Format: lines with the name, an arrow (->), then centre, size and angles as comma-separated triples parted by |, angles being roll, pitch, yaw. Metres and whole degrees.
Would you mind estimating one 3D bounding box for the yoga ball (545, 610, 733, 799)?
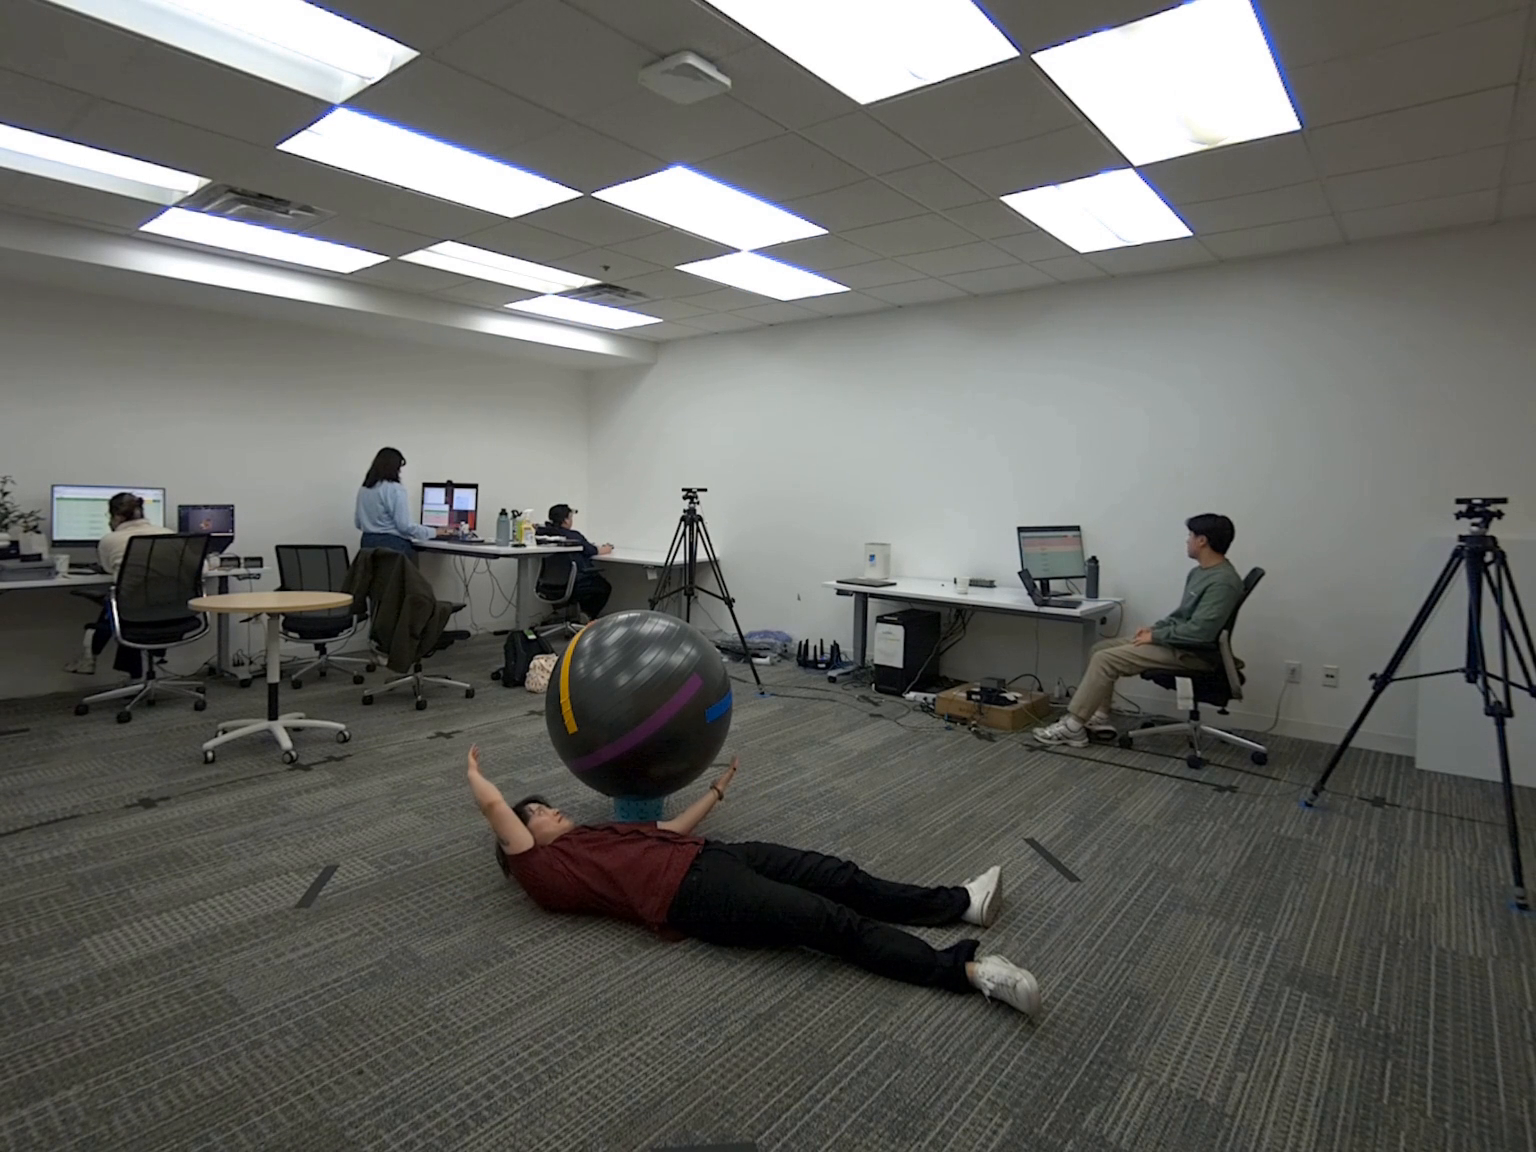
yoga ball -> -0.531, 0.519, 3.471 | 0.757, 0.755, 0.762 | 1, 4, -2
